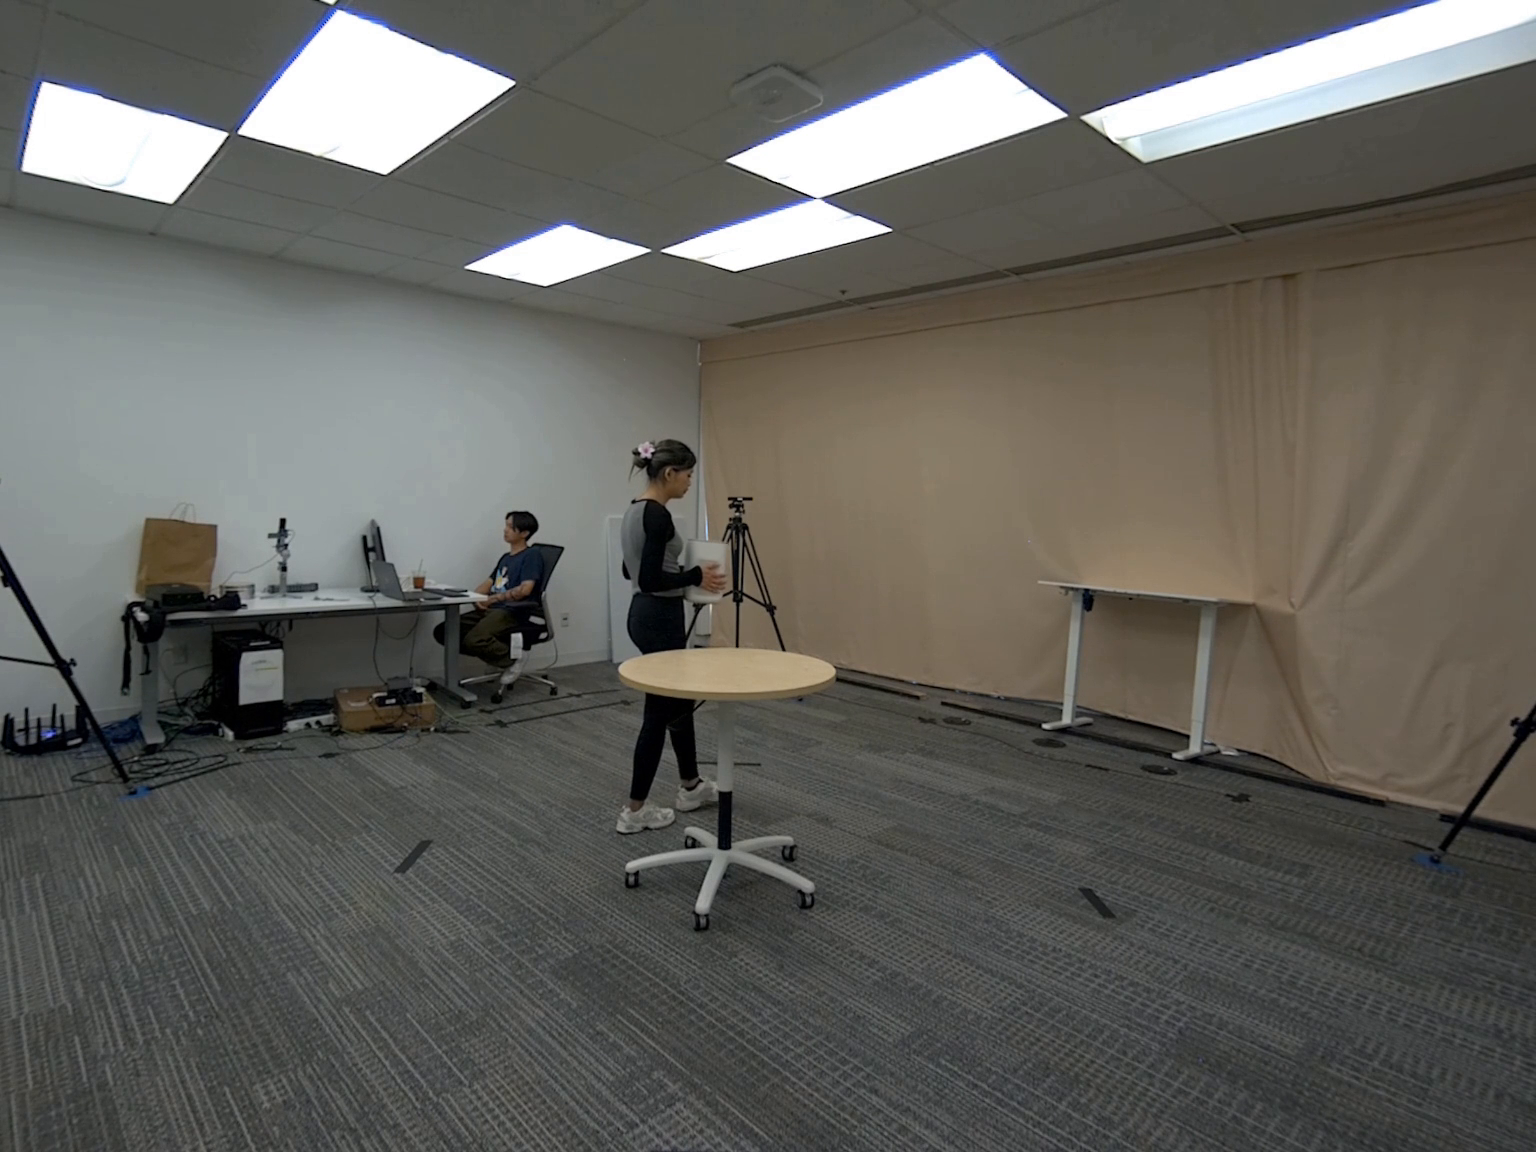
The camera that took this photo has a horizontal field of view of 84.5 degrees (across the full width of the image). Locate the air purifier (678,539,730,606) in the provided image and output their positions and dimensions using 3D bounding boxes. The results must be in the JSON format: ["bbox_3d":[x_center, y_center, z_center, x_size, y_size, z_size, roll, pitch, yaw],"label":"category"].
[{"bbox_3d":[-0.274,-0.023,3.583,0.170,0.265,0.173,5,3,-11],"label":"air purifier"}]
